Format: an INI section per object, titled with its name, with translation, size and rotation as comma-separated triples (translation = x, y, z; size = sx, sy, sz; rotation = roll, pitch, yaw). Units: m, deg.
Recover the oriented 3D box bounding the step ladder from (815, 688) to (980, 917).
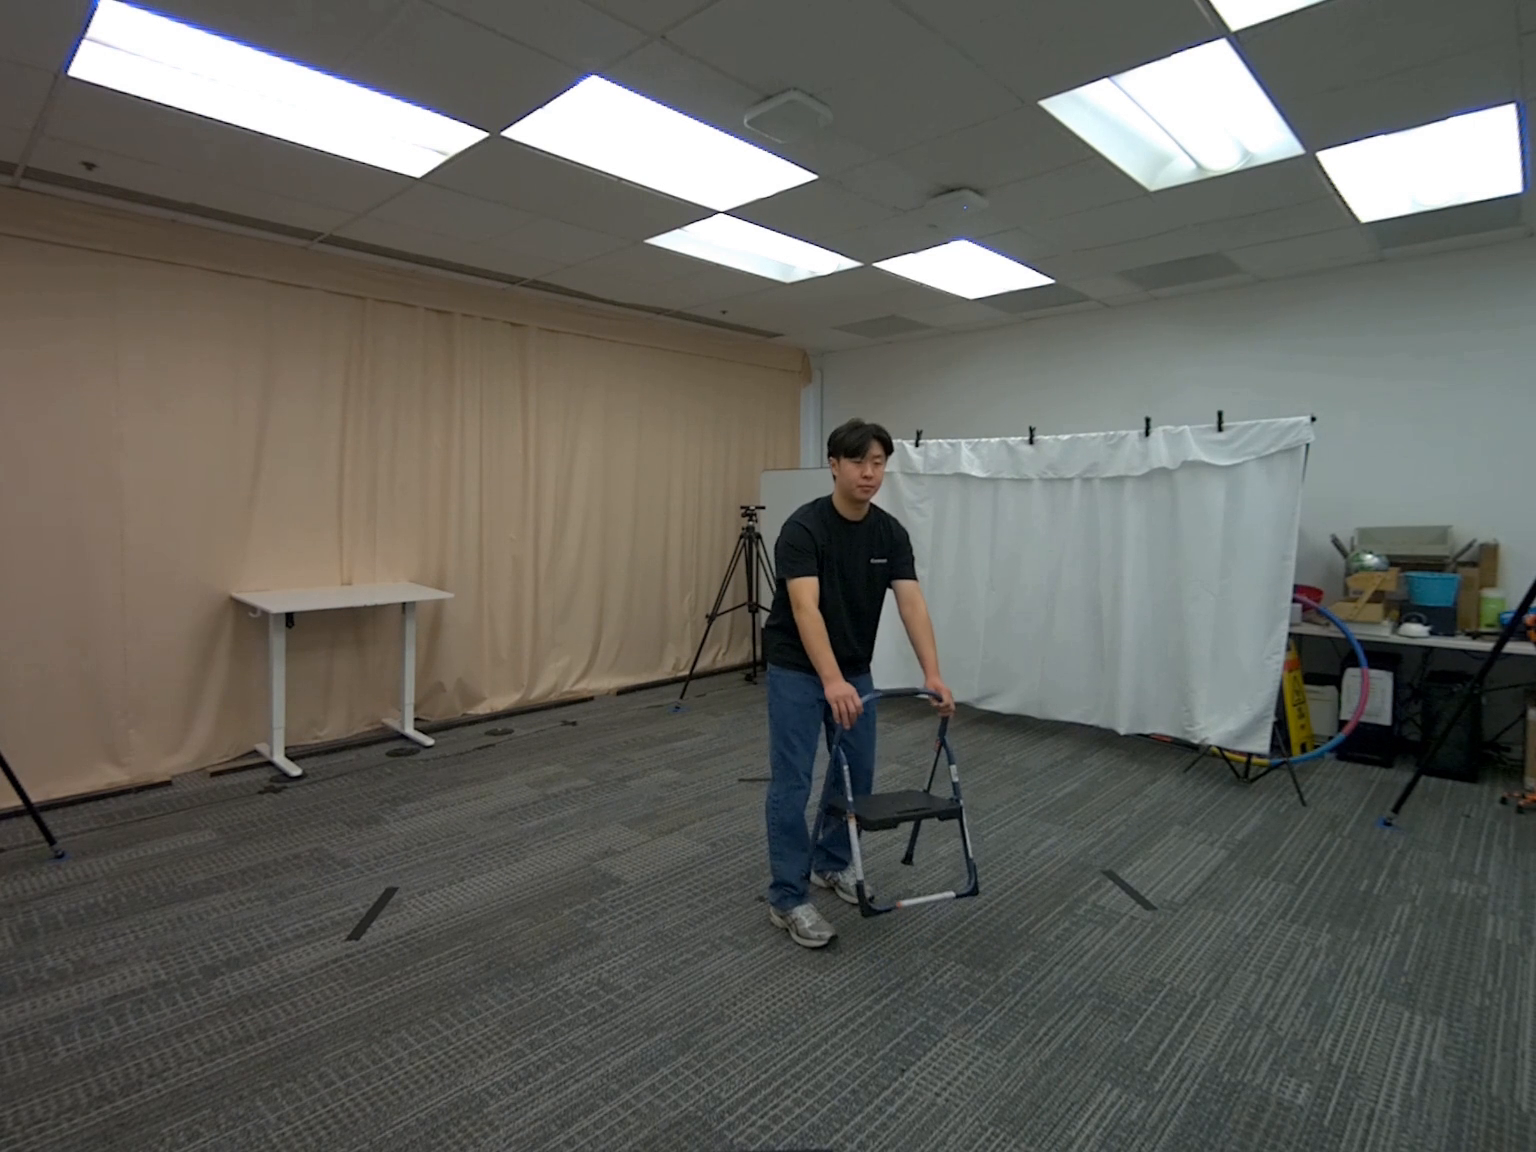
[step ladder]
translation = 0.369, 0.644, 2.553
size = 0.419, 0.607, 0.358
rotation = 1, -3, -29
